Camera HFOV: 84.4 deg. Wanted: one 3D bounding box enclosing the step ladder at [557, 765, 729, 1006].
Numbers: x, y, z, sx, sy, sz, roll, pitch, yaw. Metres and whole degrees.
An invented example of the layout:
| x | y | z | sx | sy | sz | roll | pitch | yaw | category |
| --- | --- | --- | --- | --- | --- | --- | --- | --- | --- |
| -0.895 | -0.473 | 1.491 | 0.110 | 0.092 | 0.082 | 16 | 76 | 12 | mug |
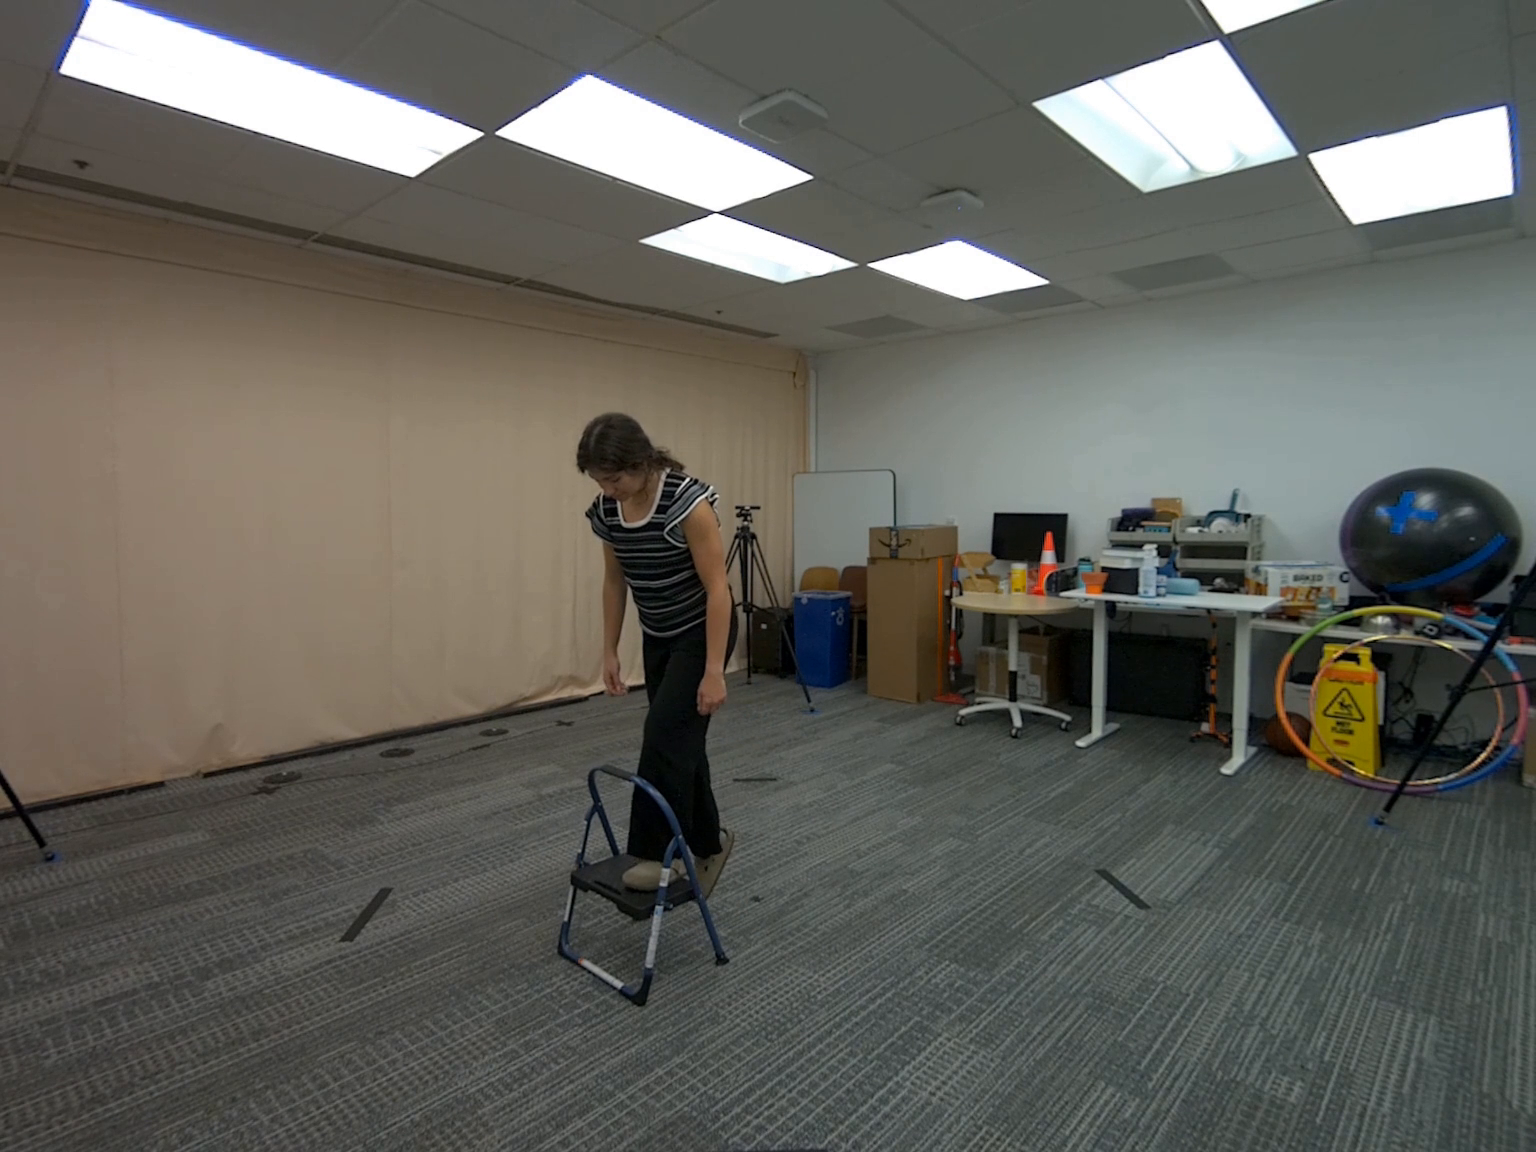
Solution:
| x | y | z | sx | sy | sz | roll | pitch | yaw | category |
| --- | --- | --- | --- | --- | --- | --- | --- | --- | --- |
| -0.394 | 0.881 | 2.586 | 0.445 | 0.605 | 0.338 | 3 | 4 | 43 | step ladder |
